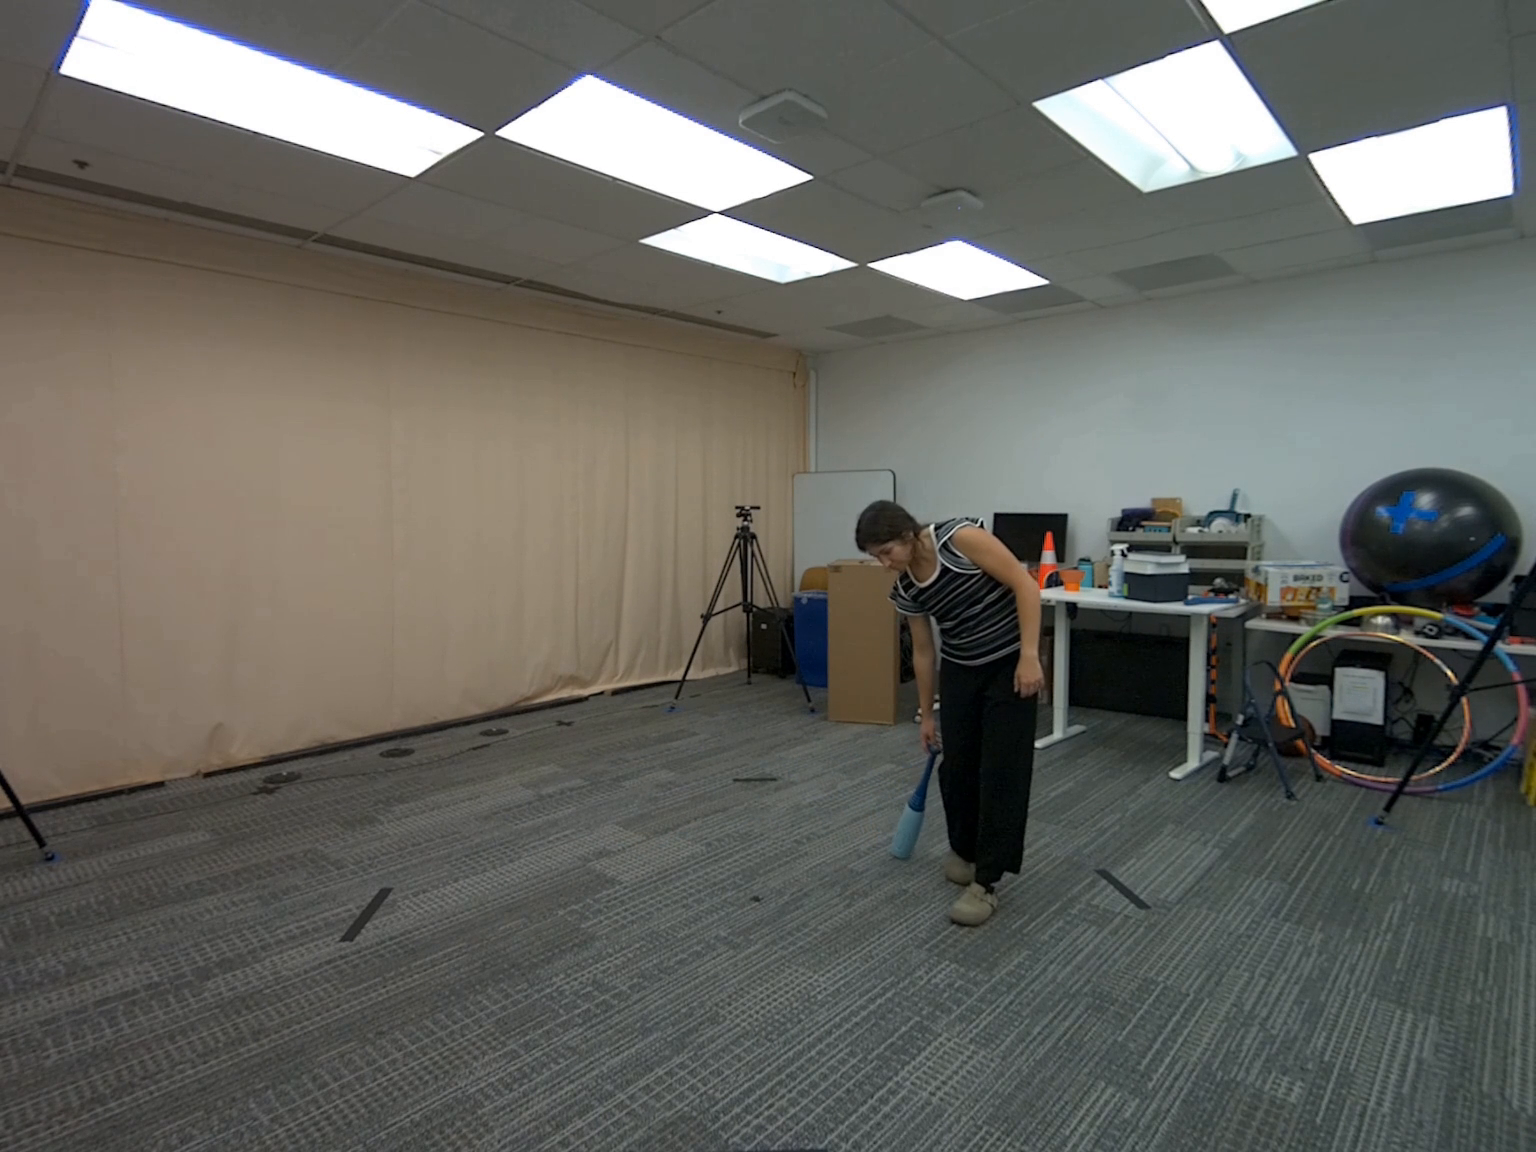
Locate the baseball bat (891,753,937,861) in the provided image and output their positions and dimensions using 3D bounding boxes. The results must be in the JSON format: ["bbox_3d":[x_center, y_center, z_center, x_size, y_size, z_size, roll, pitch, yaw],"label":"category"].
[{"bbox_3d":[0.580,0.873,3.226,0.088,0.538,0.090,9,28,-7],"label":"baseball bat"}]
